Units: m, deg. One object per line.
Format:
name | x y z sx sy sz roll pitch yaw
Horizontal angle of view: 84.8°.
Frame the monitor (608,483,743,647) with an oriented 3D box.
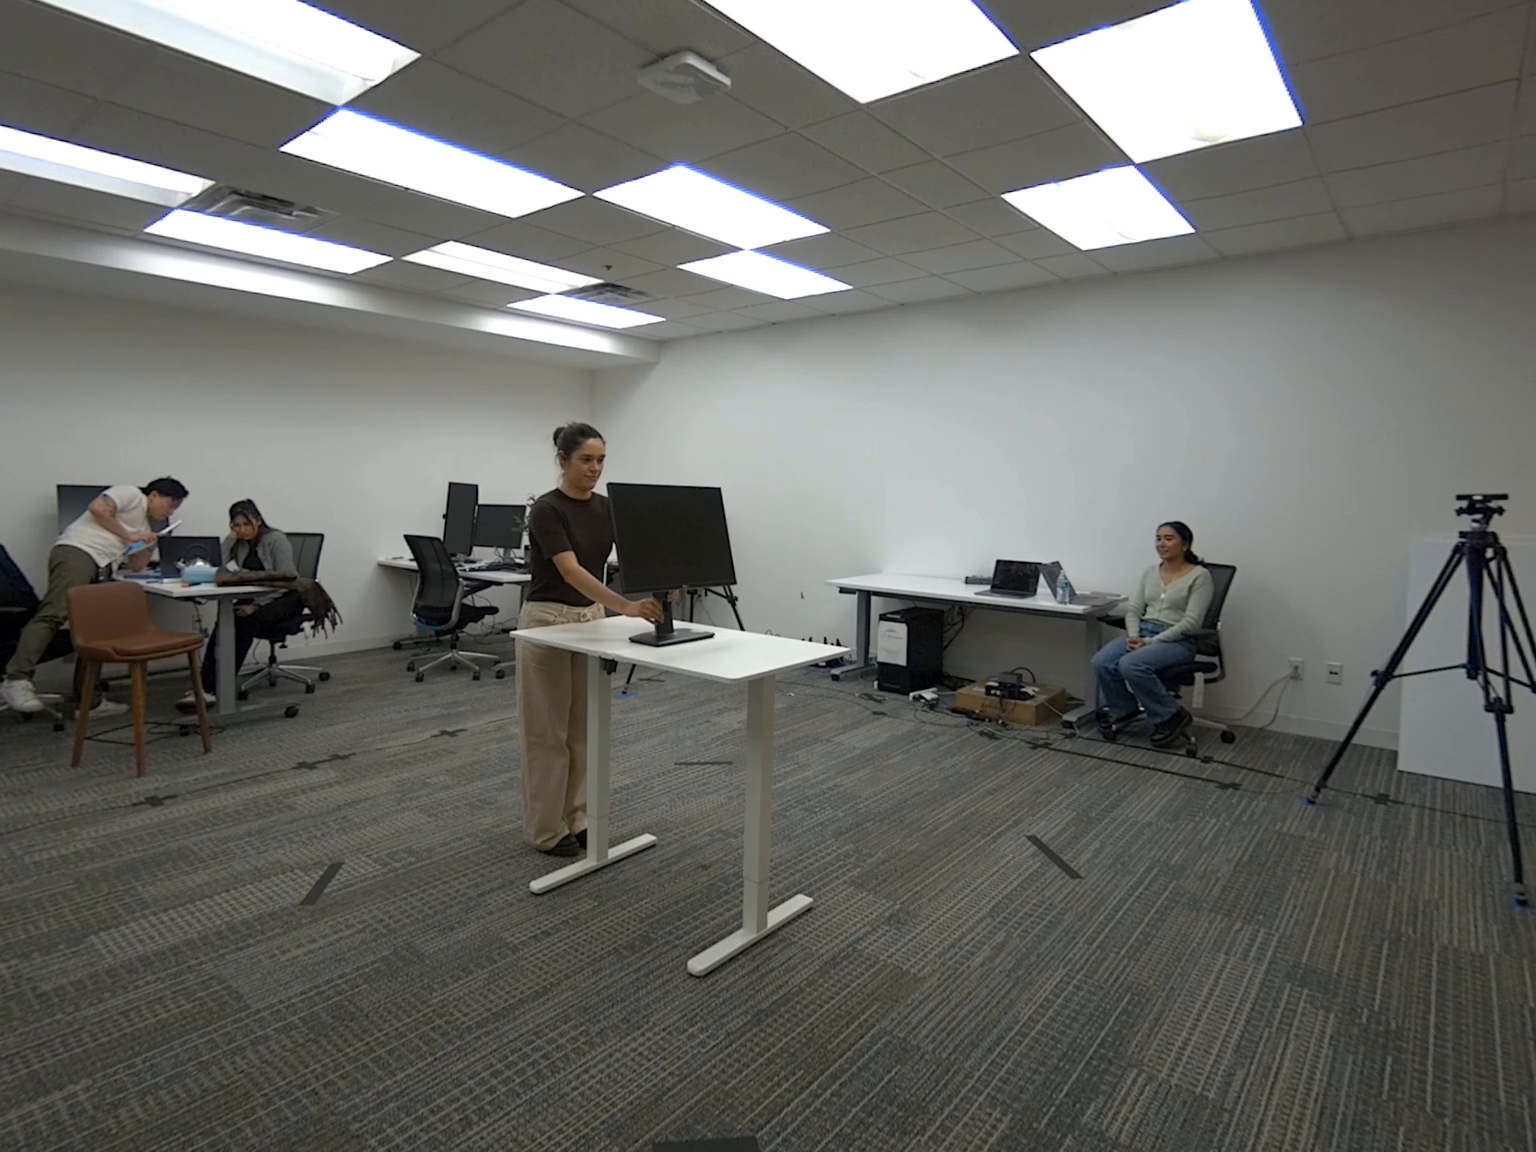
monitor | -0.340 -0.047 2.832 0.180 0.514 0.514 7 6 37
